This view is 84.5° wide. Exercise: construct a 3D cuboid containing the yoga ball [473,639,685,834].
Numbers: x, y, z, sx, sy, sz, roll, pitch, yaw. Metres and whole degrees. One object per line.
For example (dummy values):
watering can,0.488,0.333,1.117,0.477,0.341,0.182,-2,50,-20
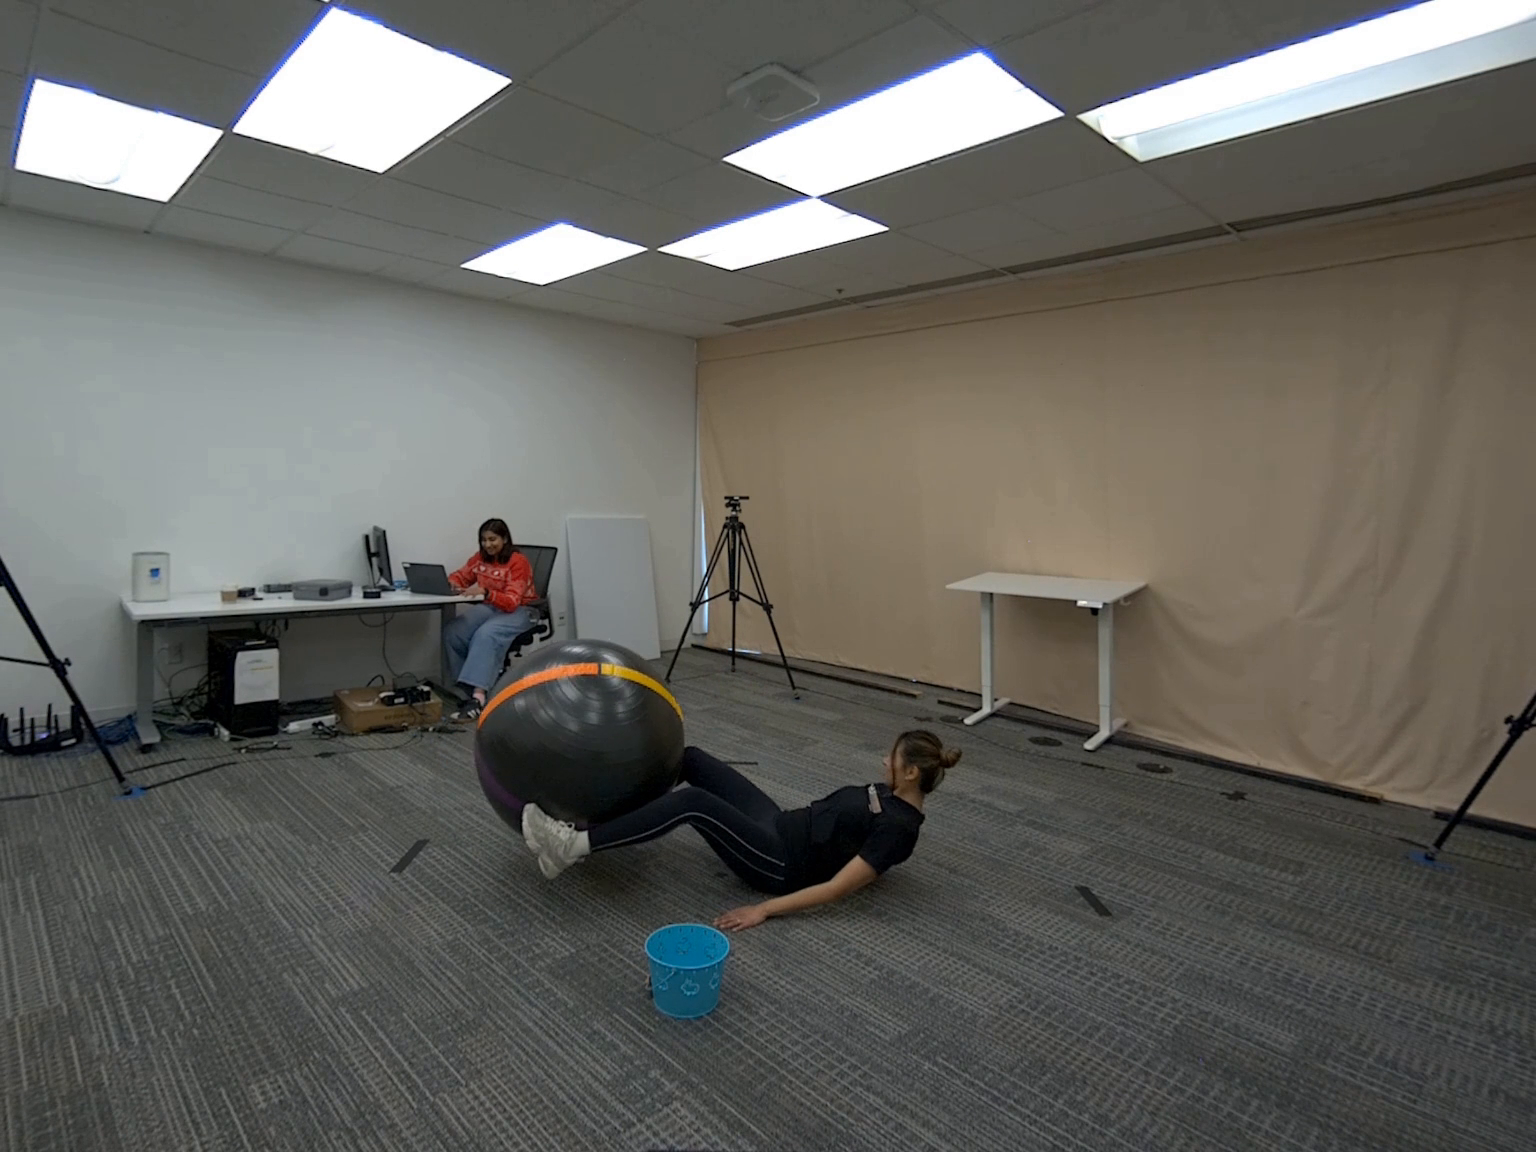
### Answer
yoga ball,-0.698,0.607,3.096,0.757,0.756,0.761,1,4,-1
